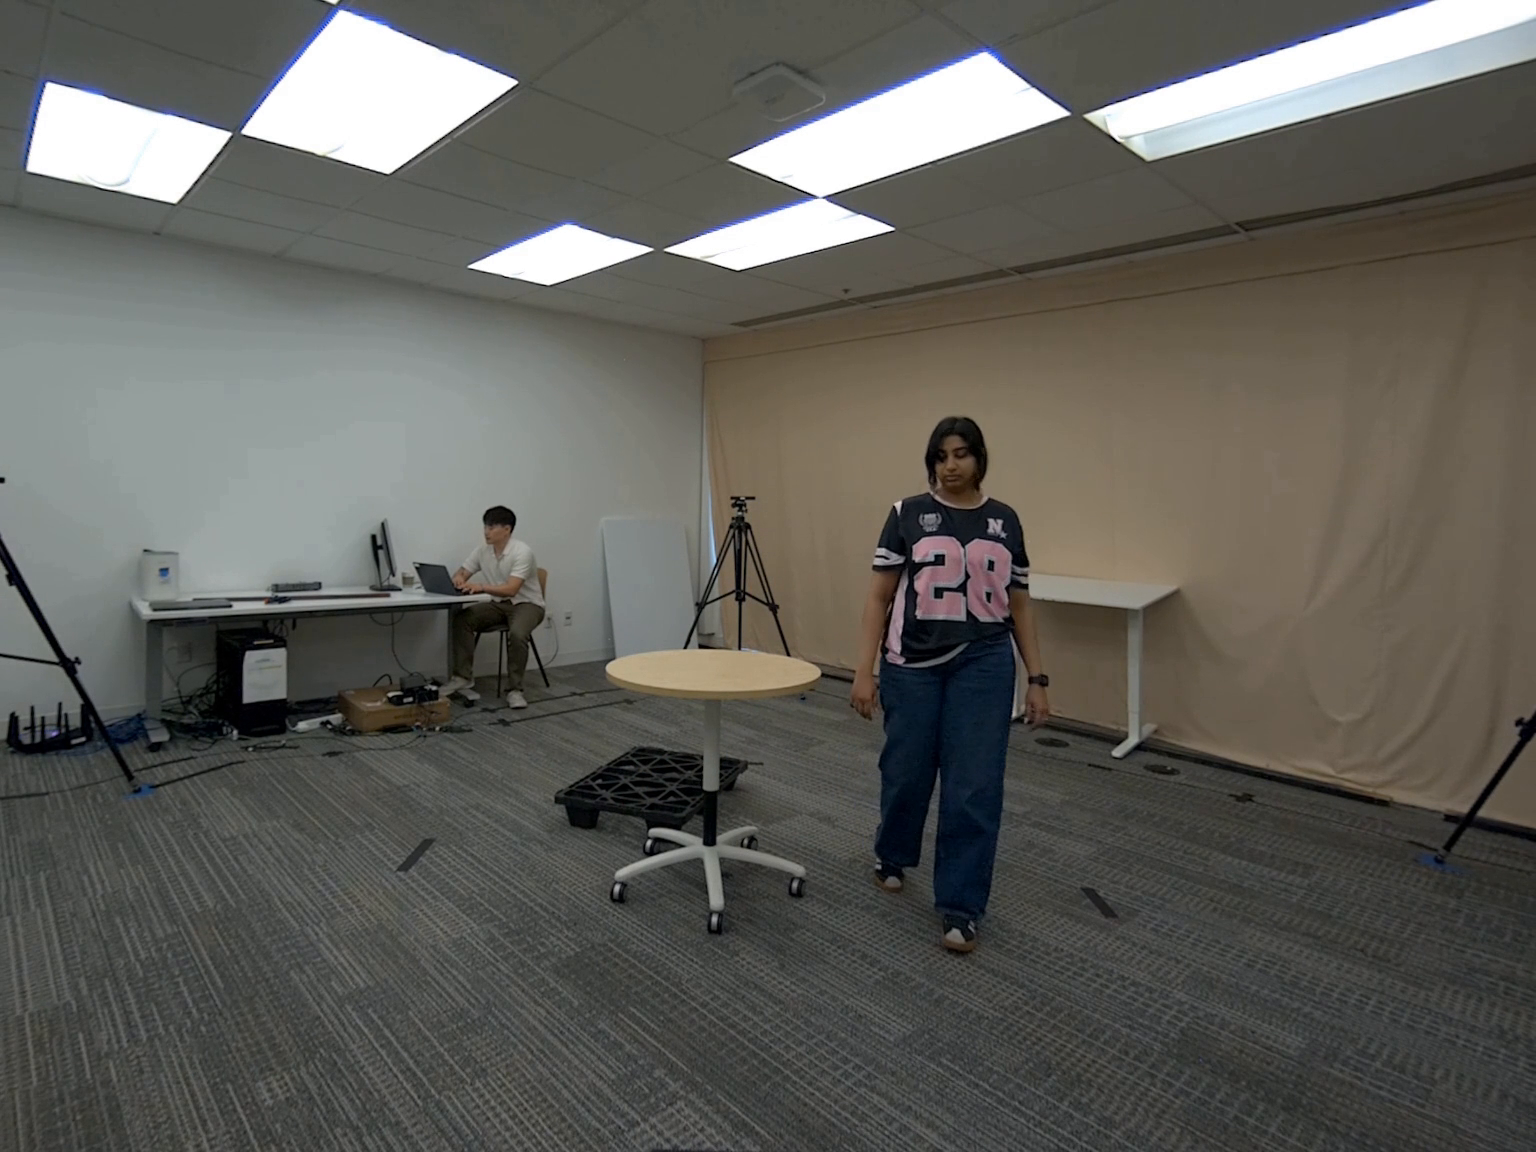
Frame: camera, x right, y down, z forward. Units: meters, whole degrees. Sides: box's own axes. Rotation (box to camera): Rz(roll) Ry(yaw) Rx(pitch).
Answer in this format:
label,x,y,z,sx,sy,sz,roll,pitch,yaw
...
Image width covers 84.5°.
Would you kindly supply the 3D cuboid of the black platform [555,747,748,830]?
label,x,y,z,sx,sy,sz,roll,pitch,yaw
black platform,-0.496,0.966,3.791,0.614,0.143,0.795,4,6,18
